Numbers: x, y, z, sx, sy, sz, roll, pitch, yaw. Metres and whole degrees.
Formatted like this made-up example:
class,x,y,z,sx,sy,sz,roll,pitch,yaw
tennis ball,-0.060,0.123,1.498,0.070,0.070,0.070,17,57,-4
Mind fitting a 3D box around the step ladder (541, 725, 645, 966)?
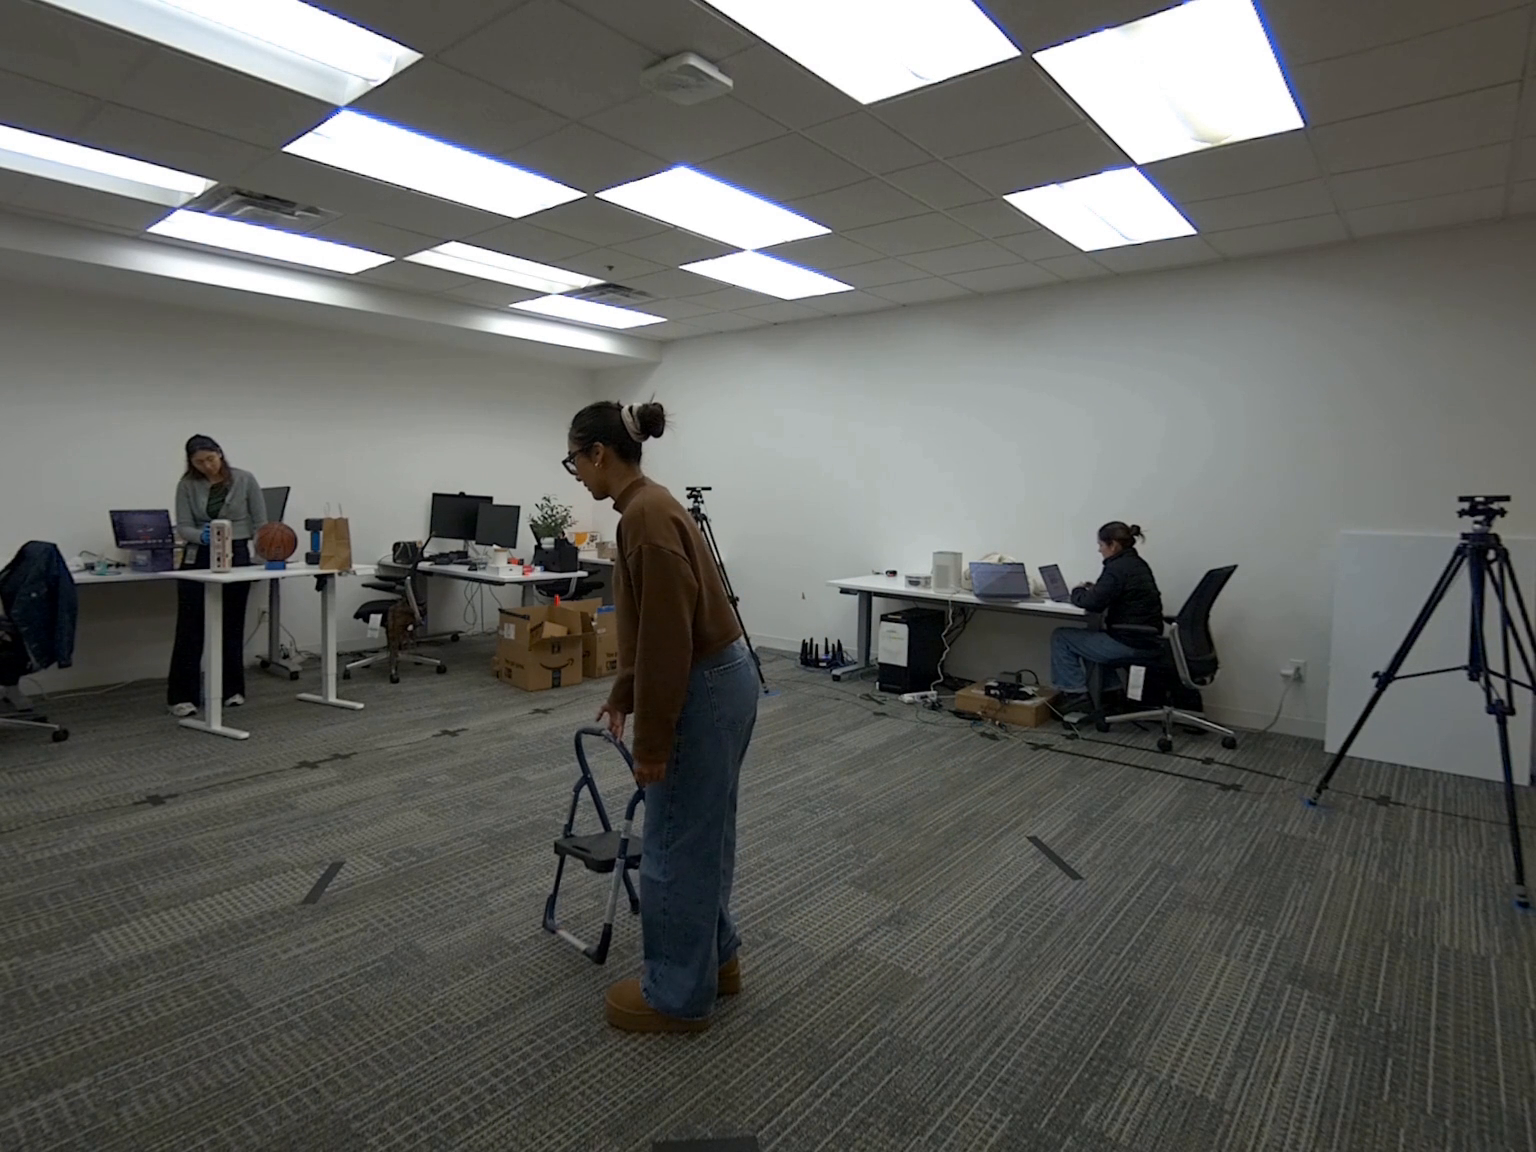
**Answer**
class,x,y,z,sx,sy,sz,roll,pitch,yaw
step ladder,-0.468,0.762,2.570,0.338,0.611,0.441,2,-9,-36
